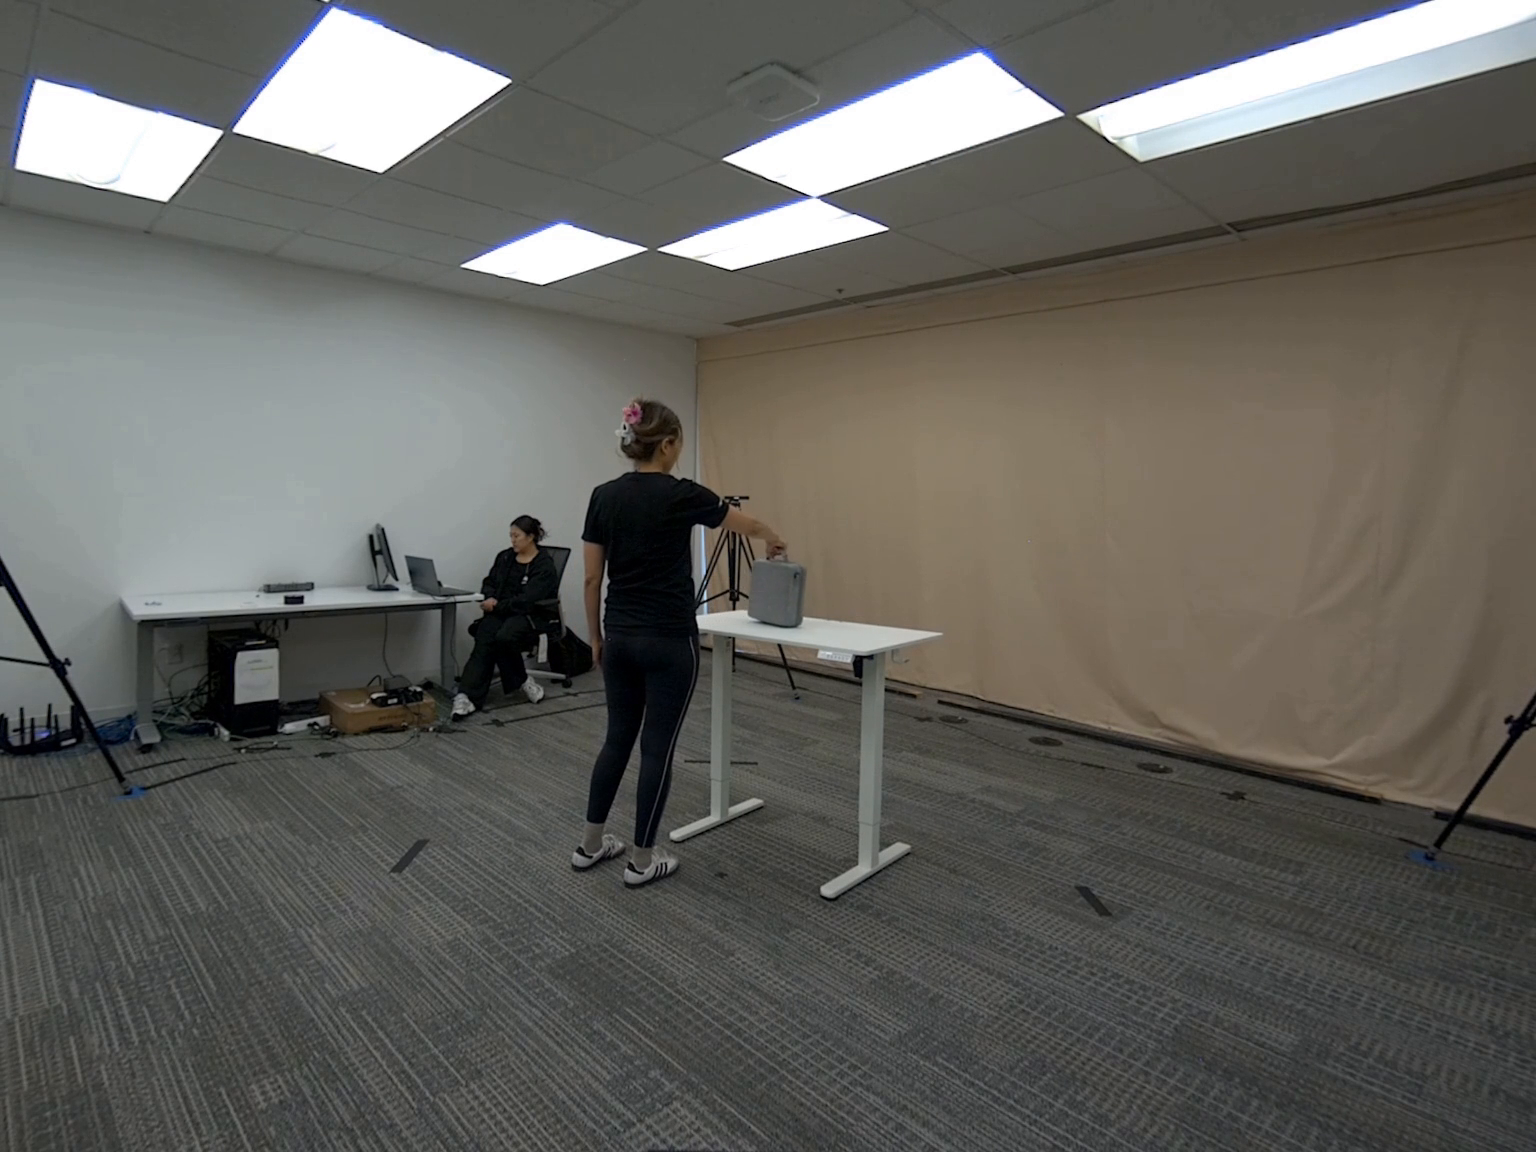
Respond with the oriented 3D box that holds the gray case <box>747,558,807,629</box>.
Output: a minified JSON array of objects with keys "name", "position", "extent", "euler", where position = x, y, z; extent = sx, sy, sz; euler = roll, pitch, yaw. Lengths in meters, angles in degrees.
[{"name":"gray case","position":[0.029,0.063,3.413],"extent":[0.102,0.260,0.263],"euler":[2,4,-38]}]
